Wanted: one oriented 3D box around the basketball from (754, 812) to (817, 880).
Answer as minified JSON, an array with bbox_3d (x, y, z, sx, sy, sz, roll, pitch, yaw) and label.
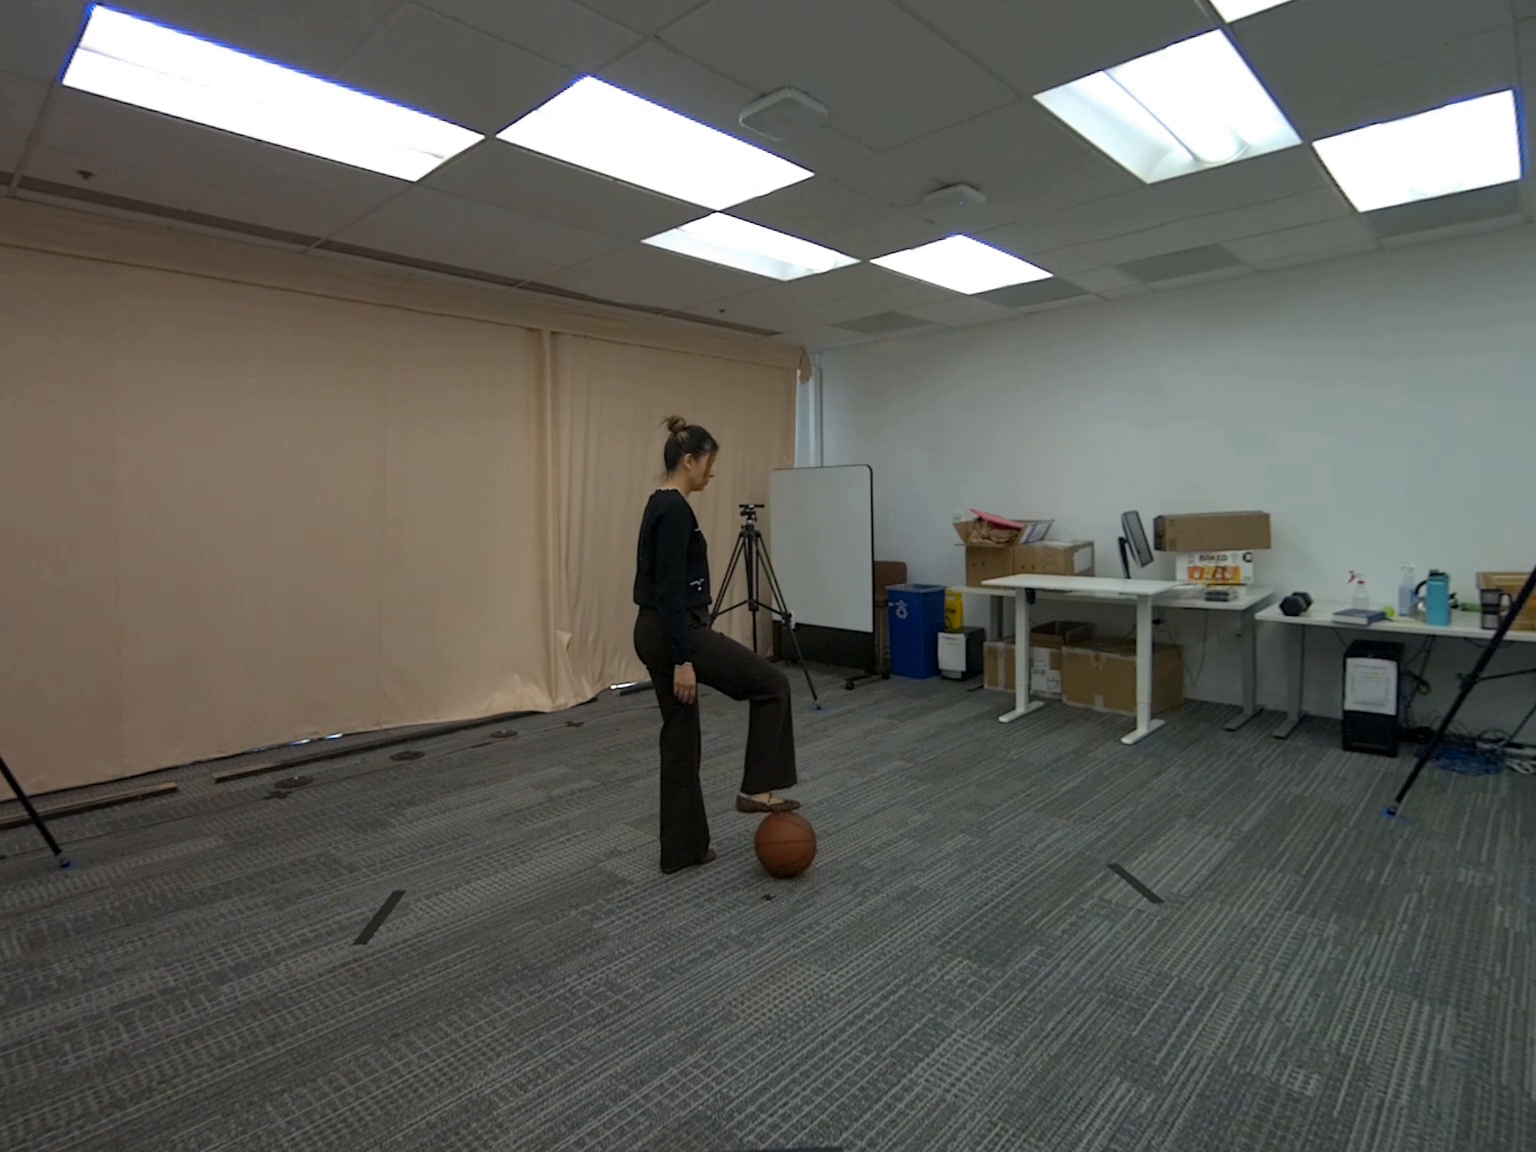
[{"bbox_3d":[0.074,1.008,3.165,0.236,0.235,0.237,-1,4,-2],"label":"basketball"}]
